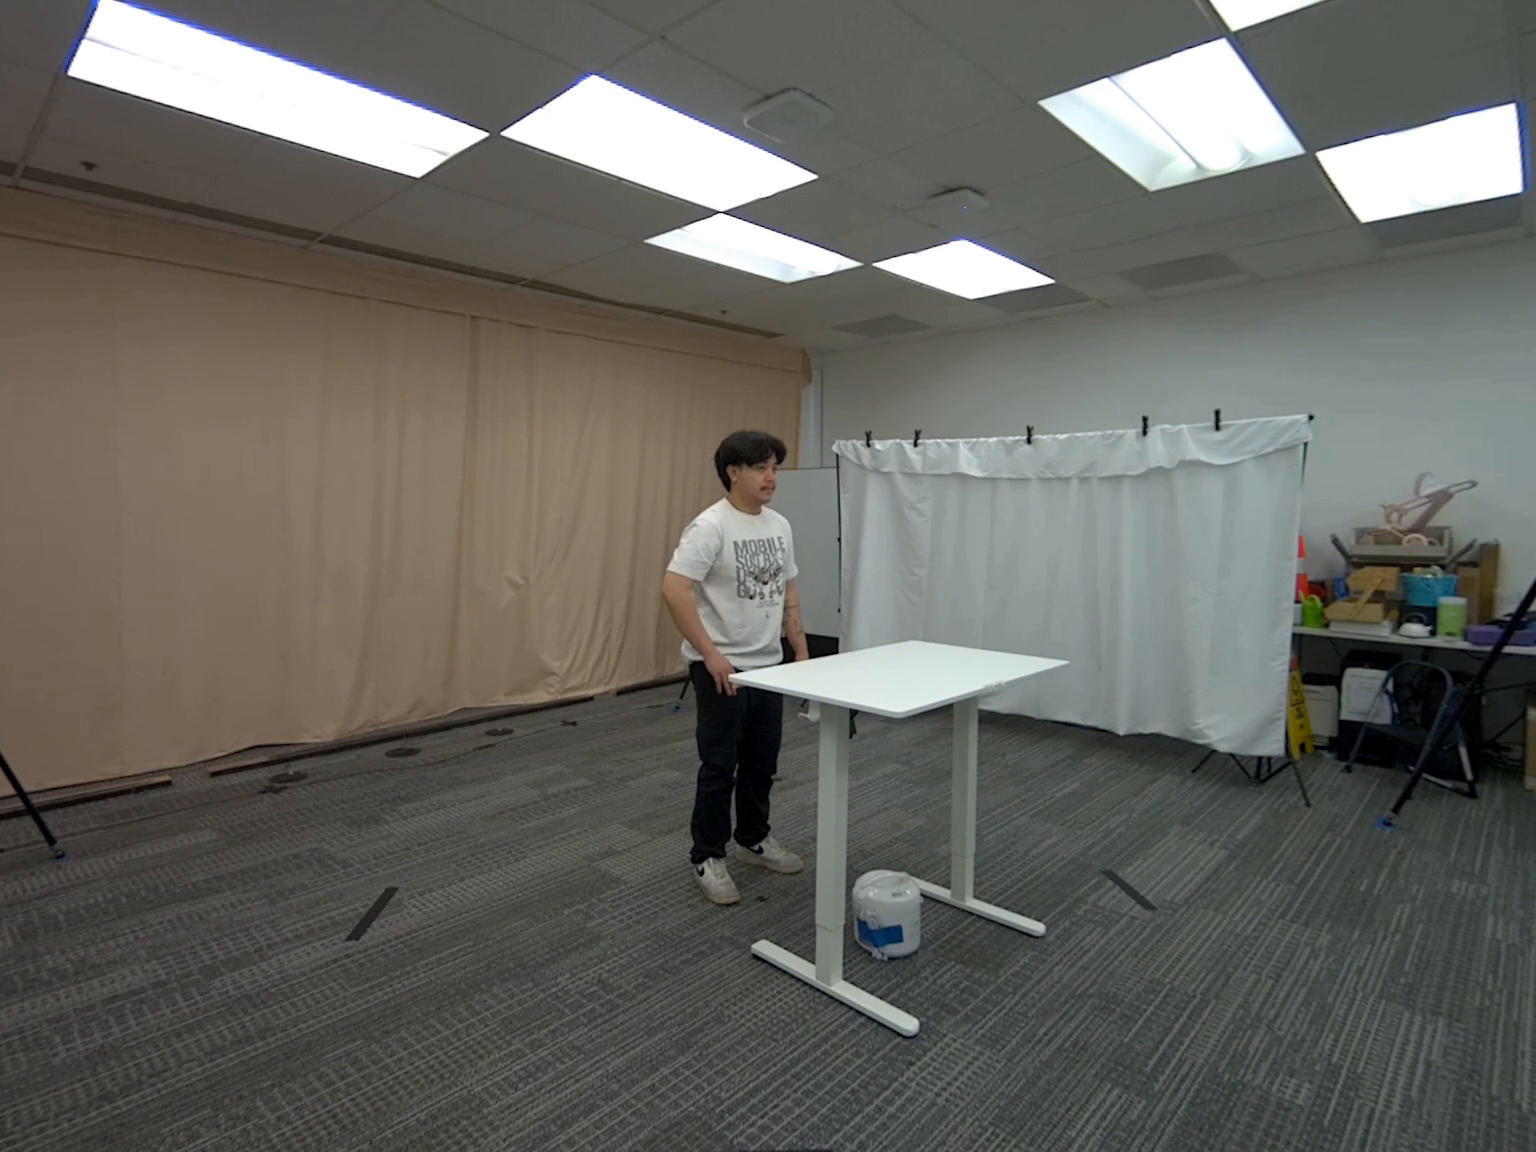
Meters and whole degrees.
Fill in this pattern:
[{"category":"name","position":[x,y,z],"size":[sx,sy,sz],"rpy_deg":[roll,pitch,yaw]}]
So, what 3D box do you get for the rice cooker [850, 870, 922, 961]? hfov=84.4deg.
[{"category":"rice cooker","position":[0.381,1.054,2.668],"size":[0.217,0.232,0.222],"rpy_deg":[-1,4,-18]}]
